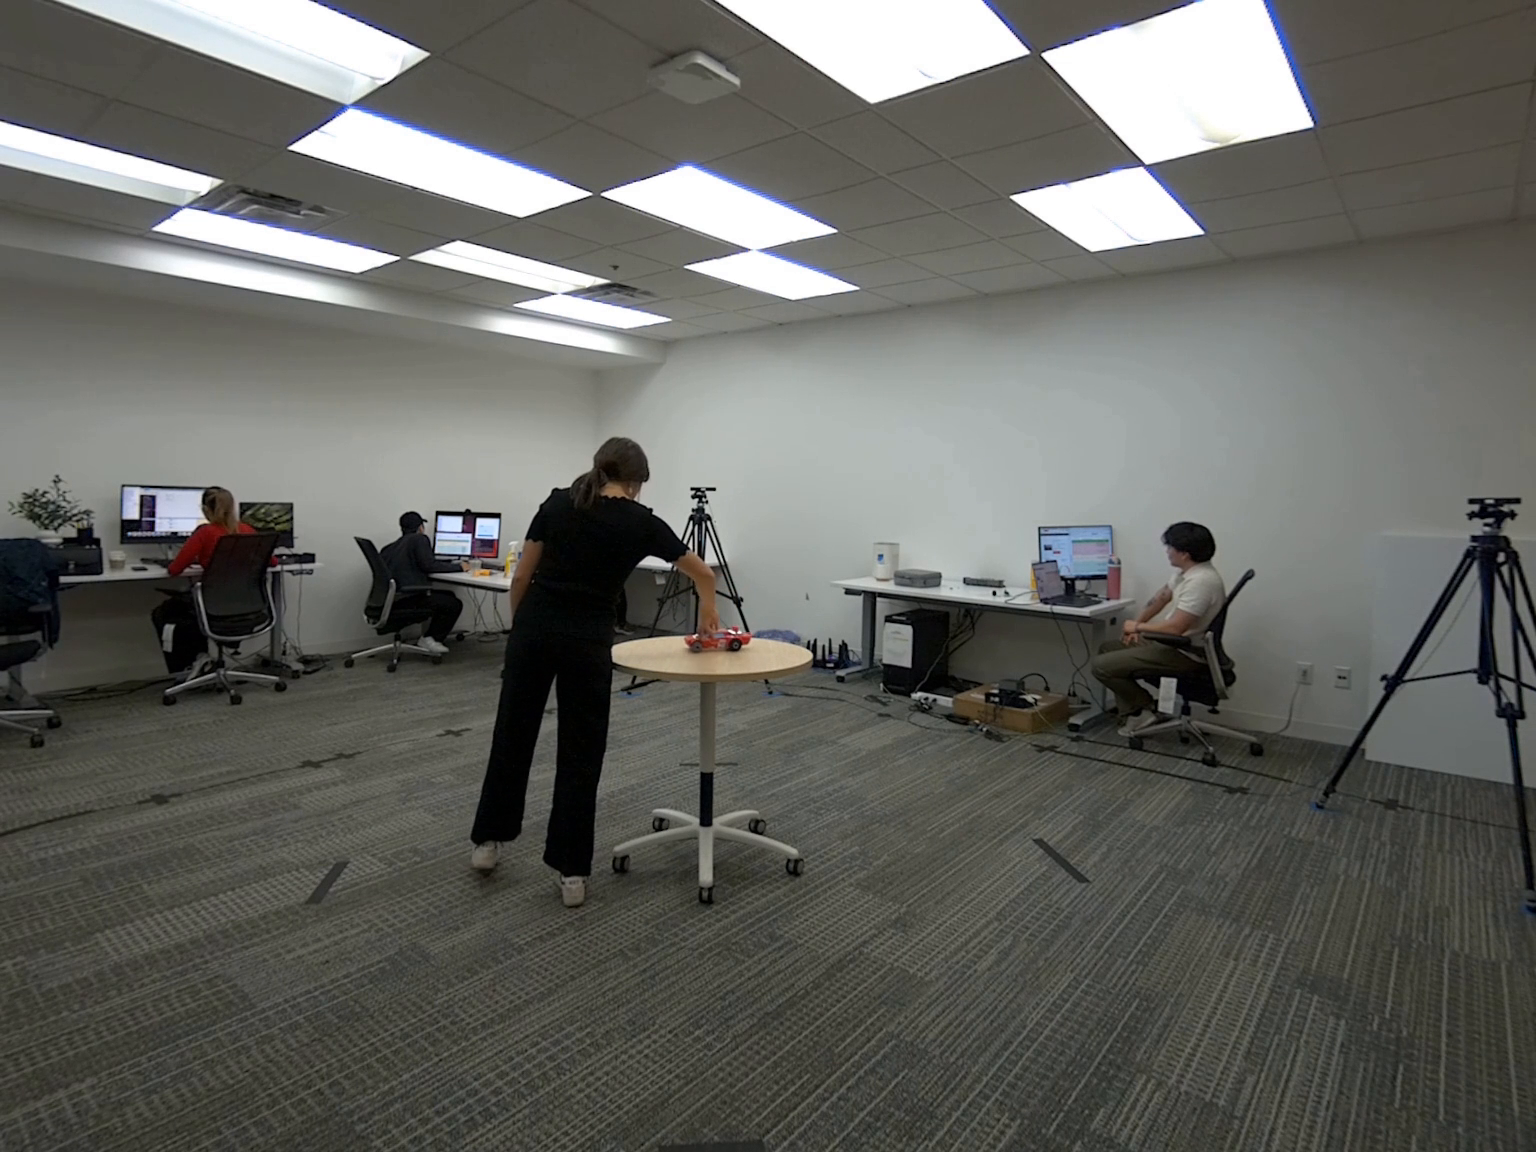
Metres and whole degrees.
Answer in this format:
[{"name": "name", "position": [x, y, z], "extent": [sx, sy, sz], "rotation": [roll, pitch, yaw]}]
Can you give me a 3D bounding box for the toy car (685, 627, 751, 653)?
[{"name": "toy car", "position": [-0.193, 0.243, 3.196], "extent": [0.252, 0.083, 0.132], "rotation": [-12, 7, -12]}]
